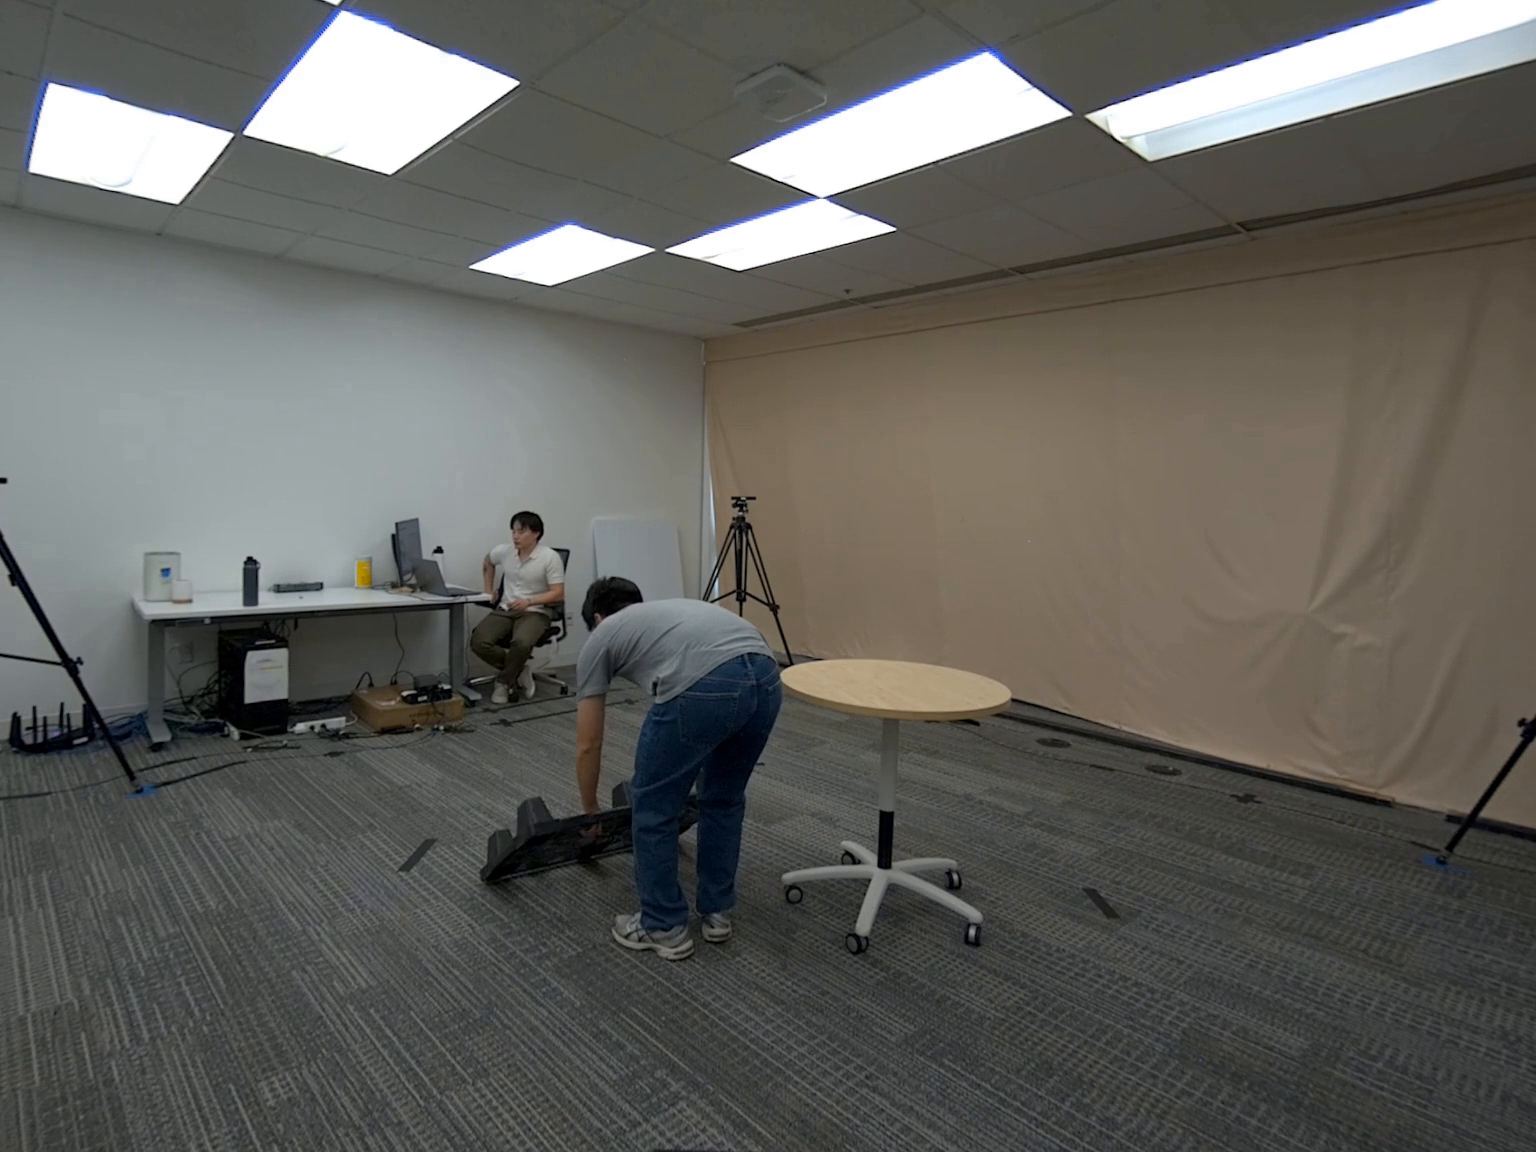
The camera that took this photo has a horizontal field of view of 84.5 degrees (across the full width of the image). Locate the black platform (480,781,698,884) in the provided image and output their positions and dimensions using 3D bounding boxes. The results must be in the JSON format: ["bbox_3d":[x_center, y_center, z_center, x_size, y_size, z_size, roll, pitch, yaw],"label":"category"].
[{"bbox_3d":[-0.578,0.877,3.022,0.788,0.146,0.605,-1,-30,-35],"label":"black platform"}]
